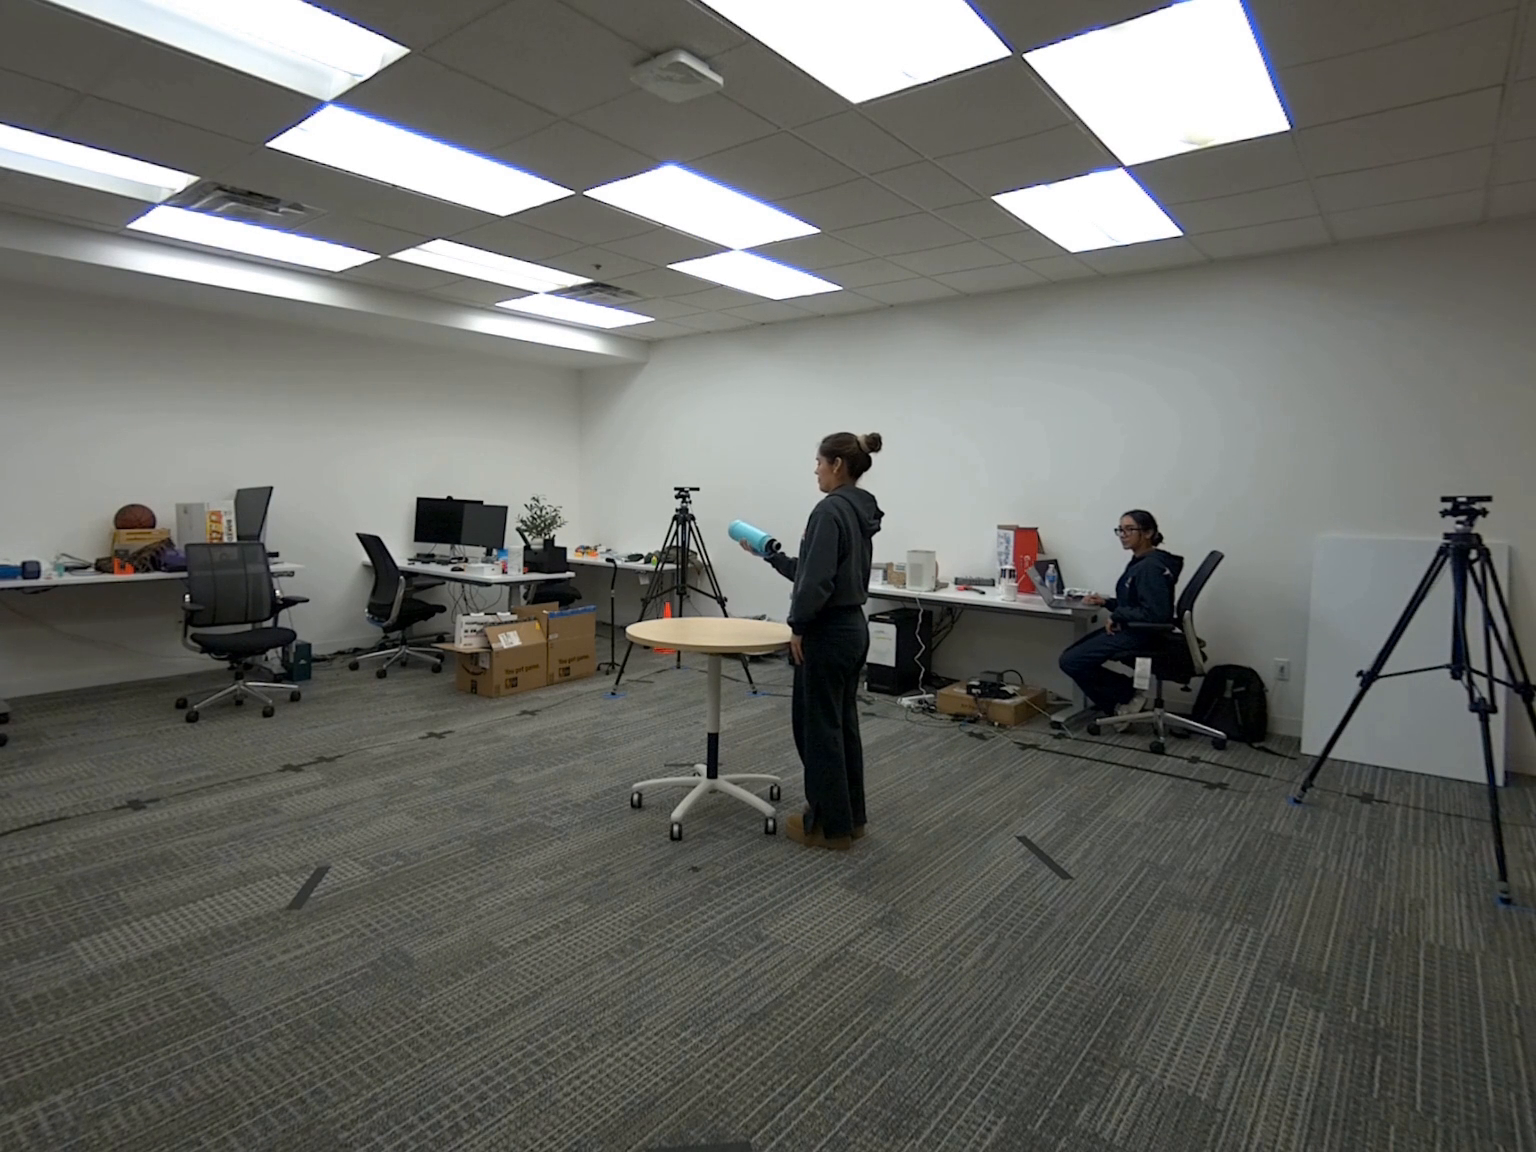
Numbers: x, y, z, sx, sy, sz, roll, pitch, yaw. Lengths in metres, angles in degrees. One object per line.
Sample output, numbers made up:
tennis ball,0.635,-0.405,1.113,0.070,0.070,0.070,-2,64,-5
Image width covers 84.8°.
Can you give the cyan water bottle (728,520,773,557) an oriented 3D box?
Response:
cyan water bottle,-0.052,-0.162,3.643,0.090,0.091,0.295,-3,22,-36
